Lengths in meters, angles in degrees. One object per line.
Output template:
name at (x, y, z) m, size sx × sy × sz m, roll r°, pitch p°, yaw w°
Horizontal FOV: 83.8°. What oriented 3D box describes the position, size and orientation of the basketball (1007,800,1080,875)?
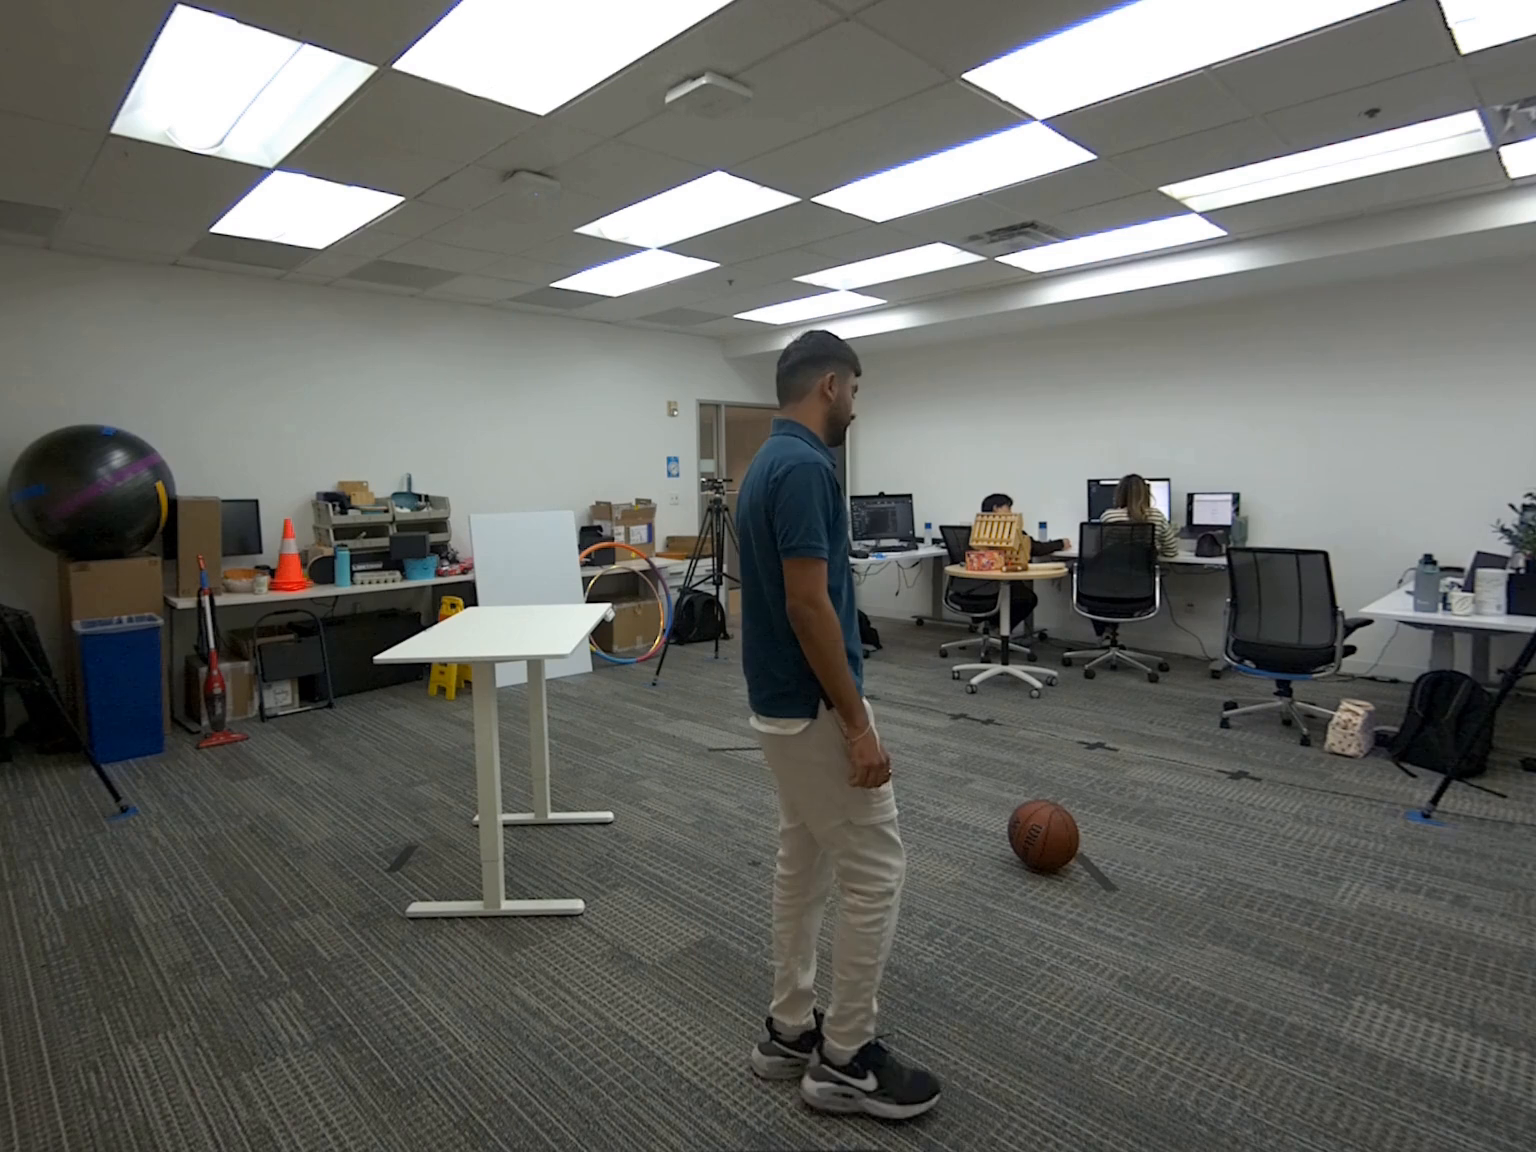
basketball at (0.981, 0.916, 3.030) m, size 0.236 × 0.235 × 0.237 m, roll -1°, pitch 5°, yaw -2°
